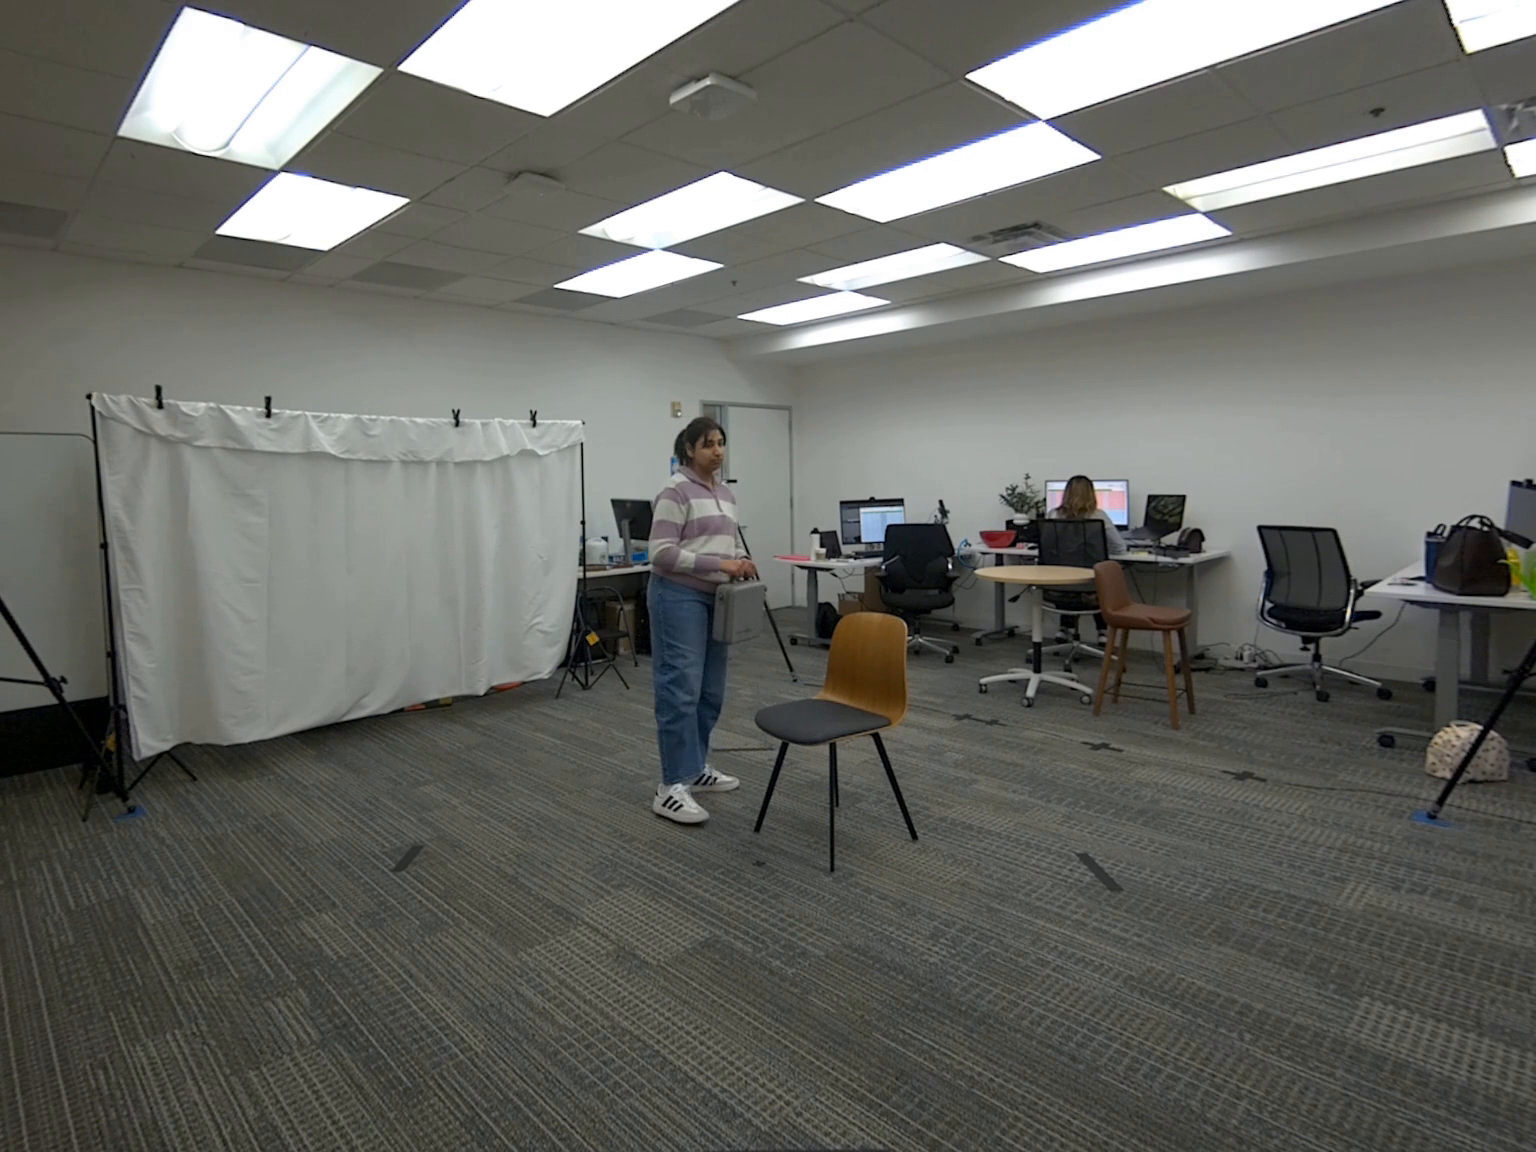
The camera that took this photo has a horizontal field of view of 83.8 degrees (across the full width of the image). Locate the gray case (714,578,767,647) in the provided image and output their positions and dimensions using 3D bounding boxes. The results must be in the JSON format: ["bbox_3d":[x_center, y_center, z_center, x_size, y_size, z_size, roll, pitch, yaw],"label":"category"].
[{"bbox_3d":[-0.136,0.145,3.652,0.108,0.259,0.250,10,9,36],"label":"gray case"}]
